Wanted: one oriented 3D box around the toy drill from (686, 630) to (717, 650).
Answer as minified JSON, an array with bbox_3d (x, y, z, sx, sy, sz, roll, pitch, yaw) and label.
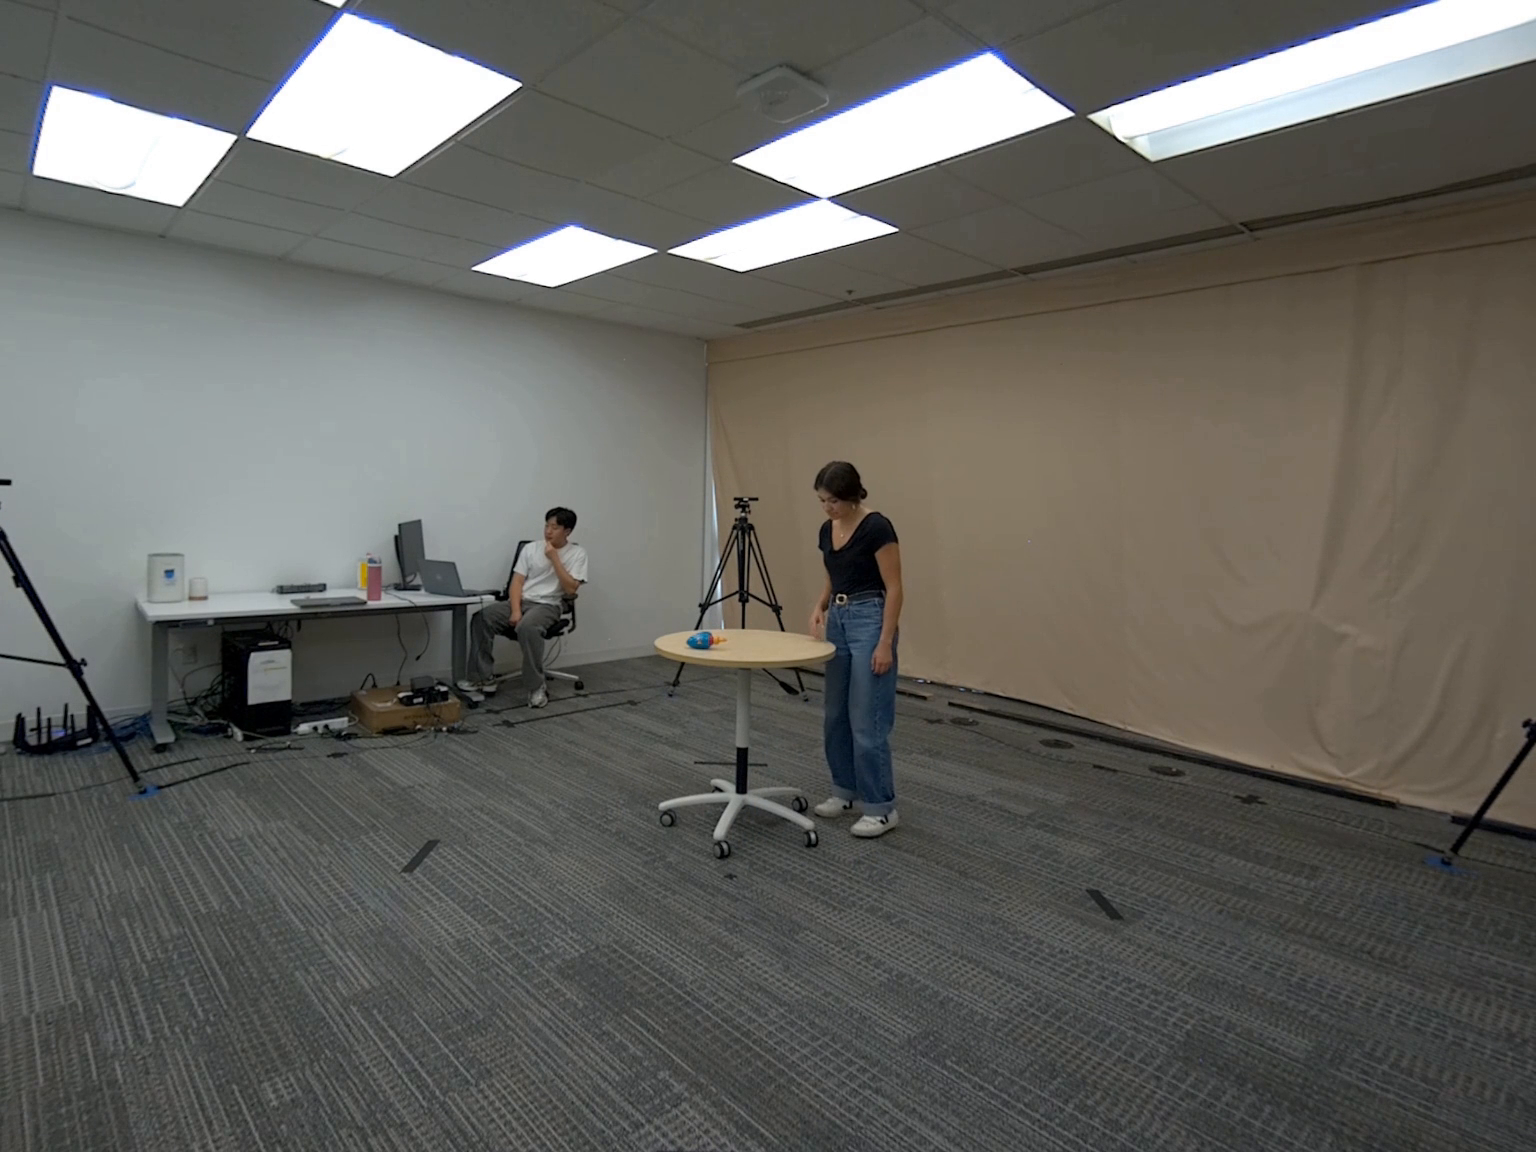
[{"bbox_3d":[-0.248,0.264,3.444,0.171,0.061,0.145,-5,3,10],"label":"toy drill"}]
